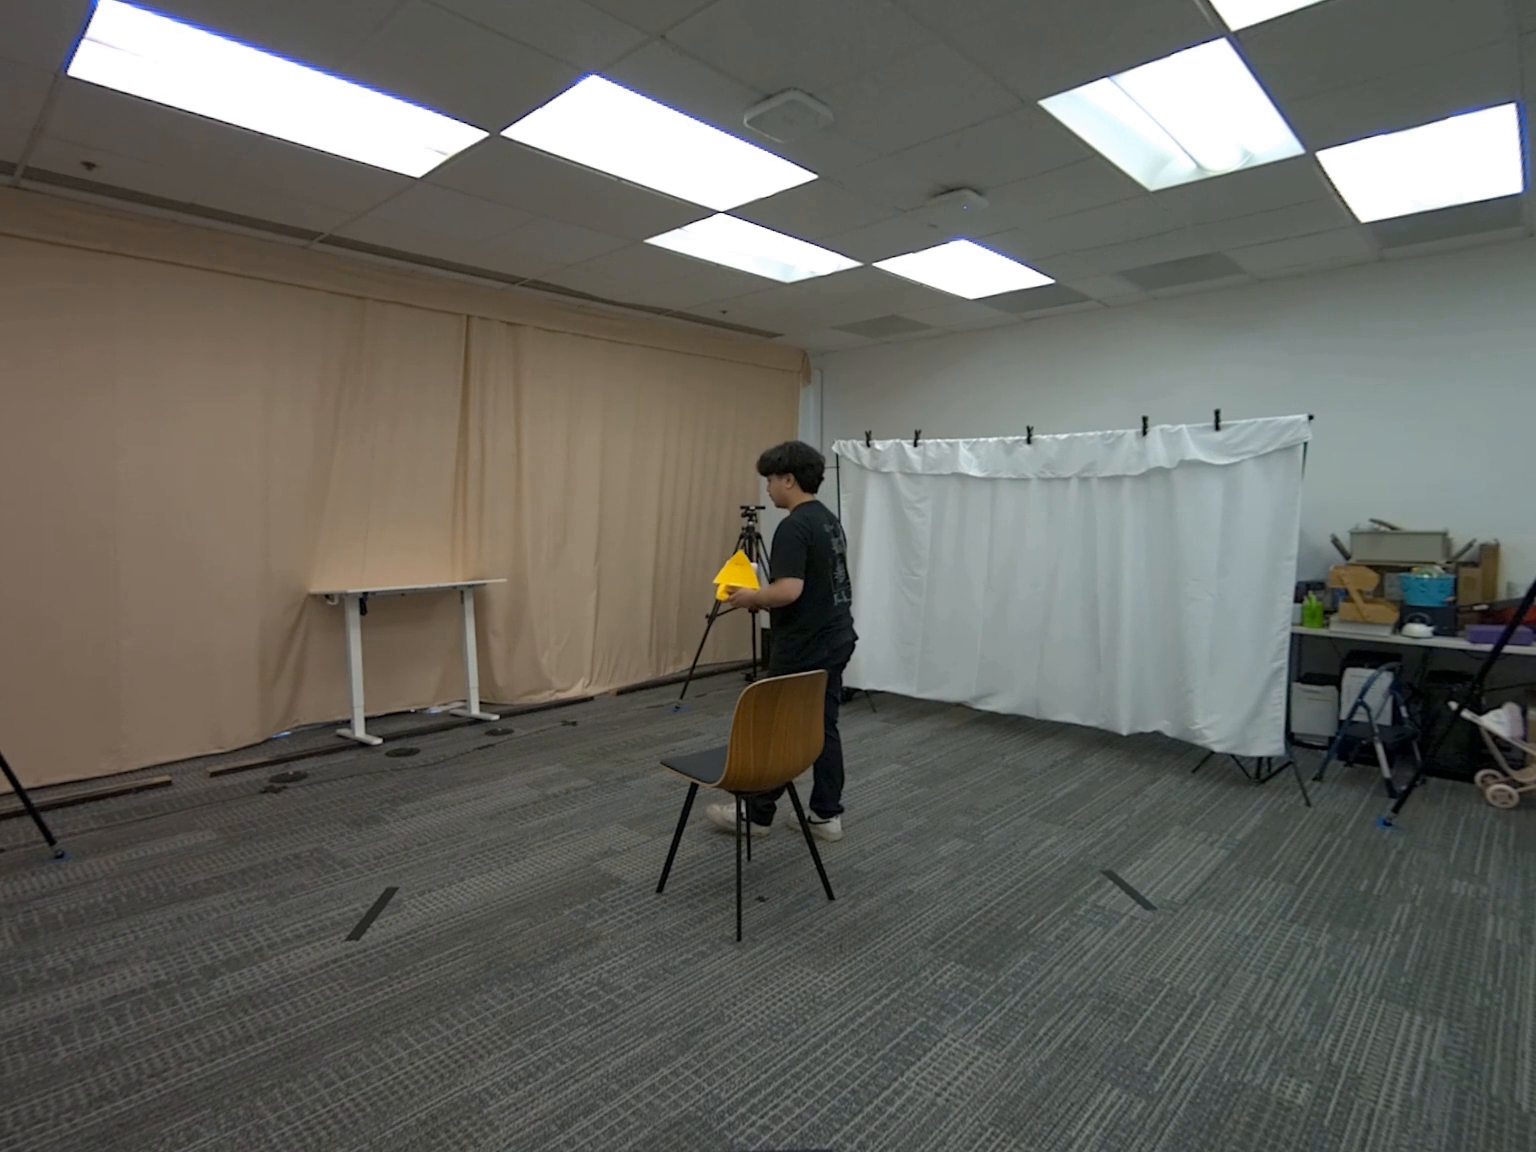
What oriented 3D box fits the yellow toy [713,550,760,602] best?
[{"bbox_3d":[-0.109,-0.011,3.624,0.208,0.229,0.191,8,11,12],"label":"yellow toy"}]
